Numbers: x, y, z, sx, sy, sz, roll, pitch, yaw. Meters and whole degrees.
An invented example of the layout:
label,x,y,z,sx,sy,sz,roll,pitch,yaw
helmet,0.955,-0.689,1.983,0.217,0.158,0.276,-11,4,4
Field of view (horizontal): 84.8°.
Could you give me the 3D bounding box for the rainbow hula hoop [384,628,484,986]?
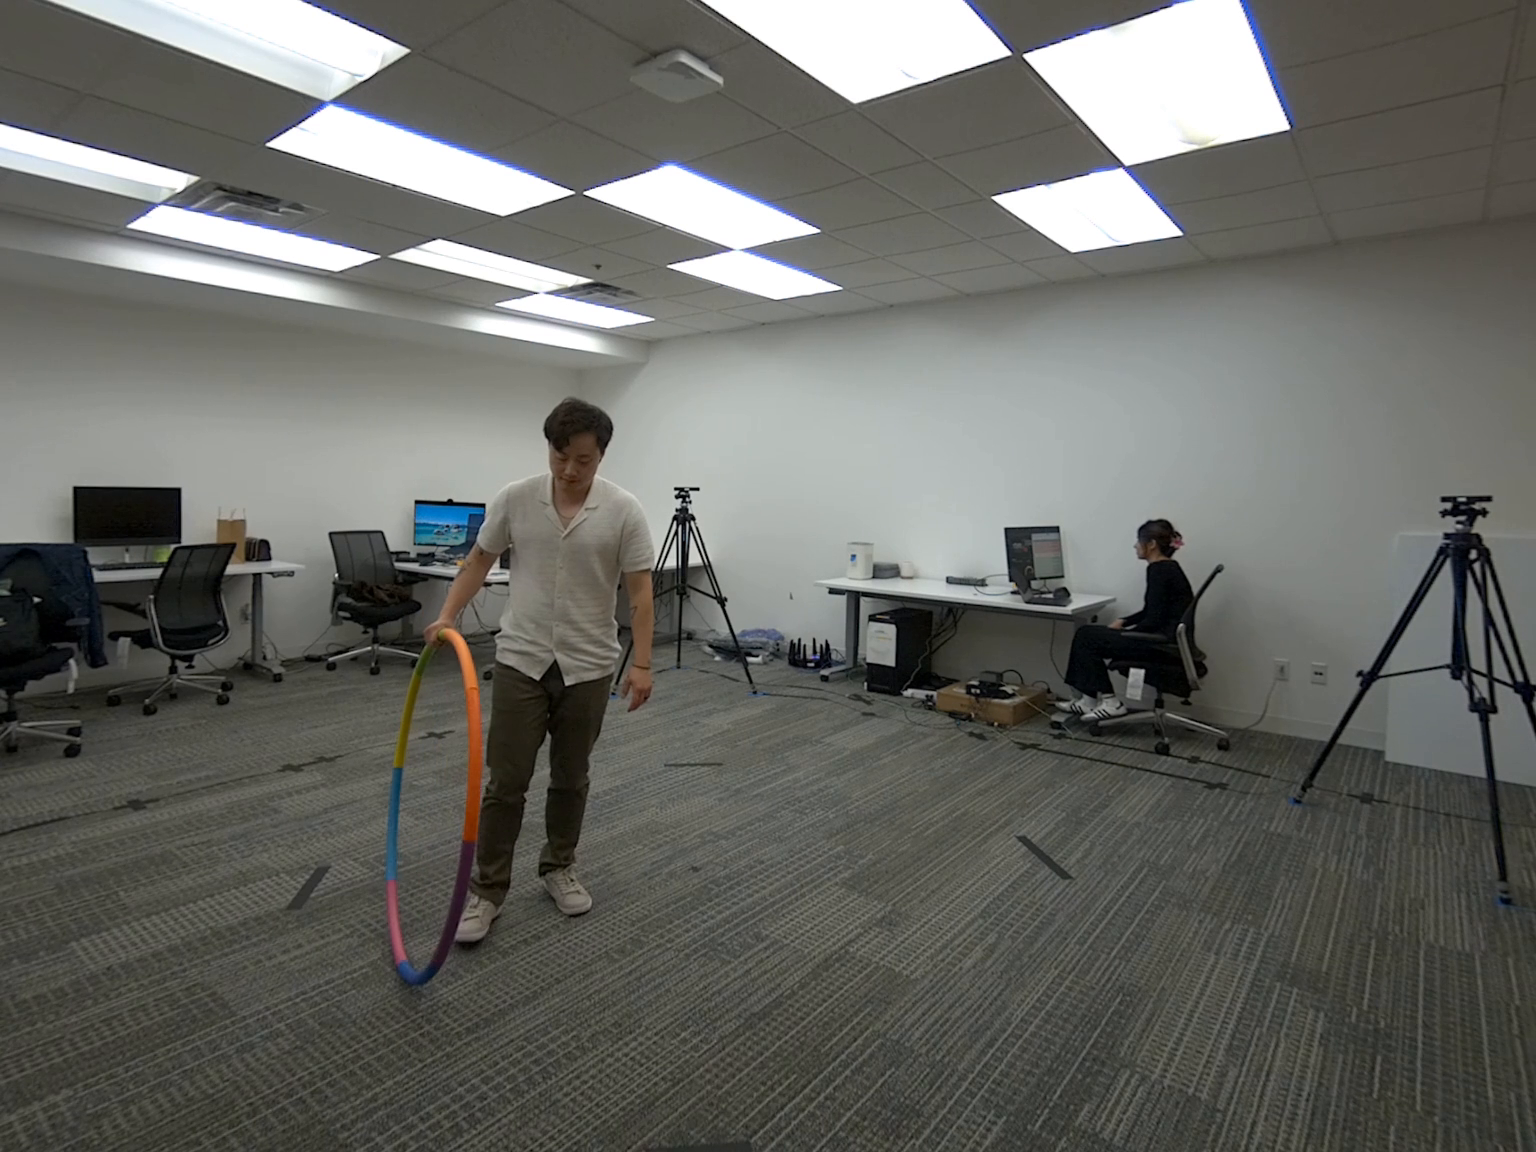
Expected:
label,x,y,z,sx,sy,sz,roll,pitch,yaw
rainbow hula hoop,-0.993,0.639,2.470,0.034,0.980,1.009,10,-1,-32
